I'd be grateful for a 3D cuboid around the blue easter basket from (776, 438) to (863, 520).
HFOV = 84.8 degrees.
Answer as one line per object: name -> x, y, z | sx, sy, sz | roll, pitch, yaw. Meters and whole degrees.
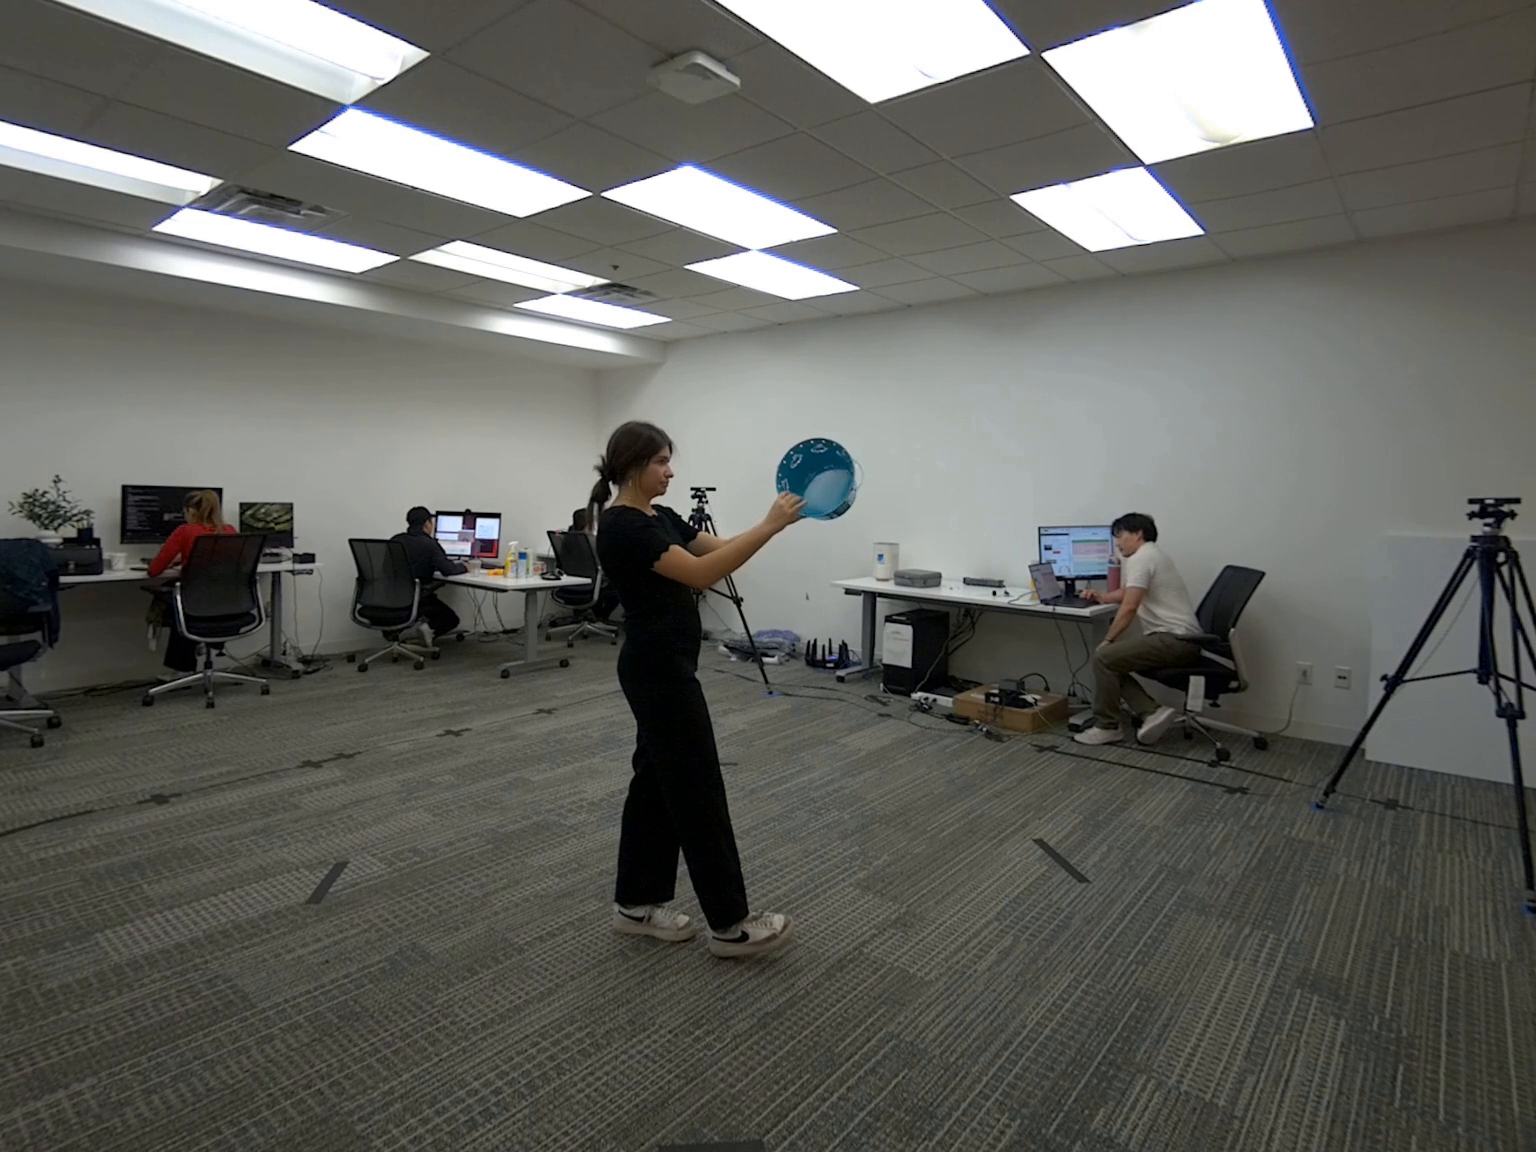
blue easter basket -> 0.146, -0.270, 2.469 | 0.249, 0.246, 0.151 | 2, -11, 20
